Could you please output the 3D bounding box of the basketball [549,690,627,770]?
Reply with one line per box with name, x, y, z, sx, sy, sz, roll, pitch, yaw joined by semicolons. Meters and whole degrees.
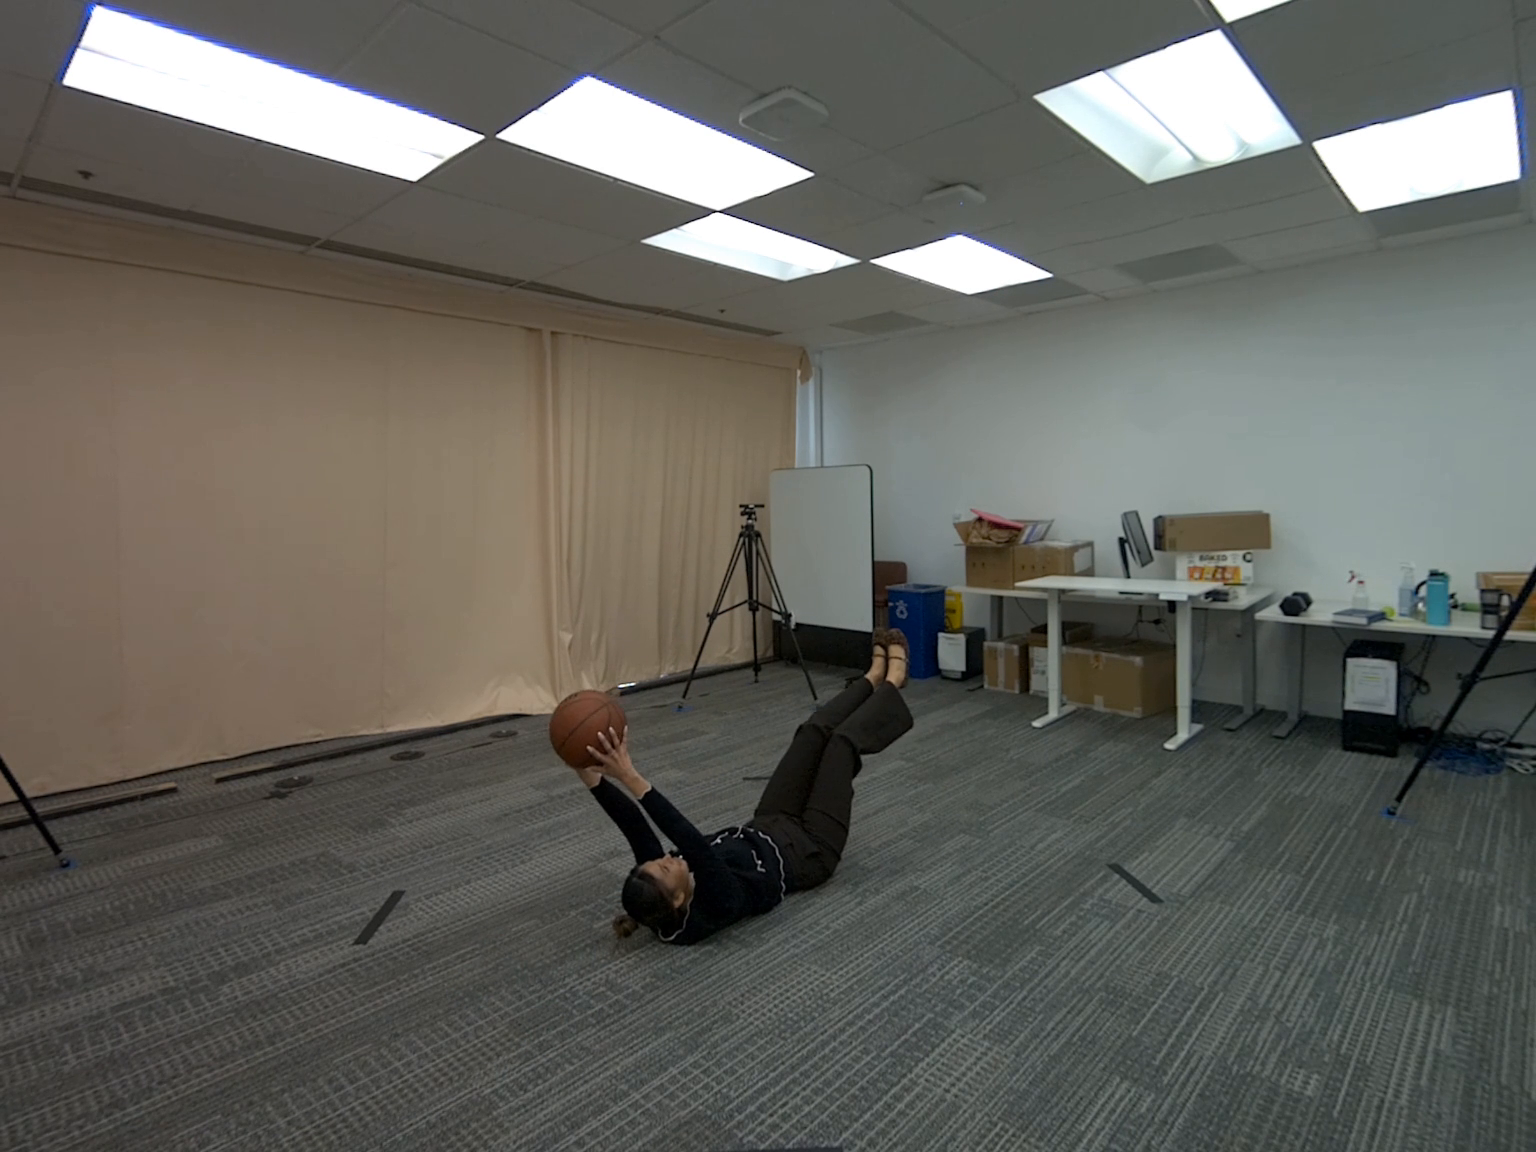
basketball;-0.545;0.469;2.556;0.236;0.235;0.237;-1;4;-2
